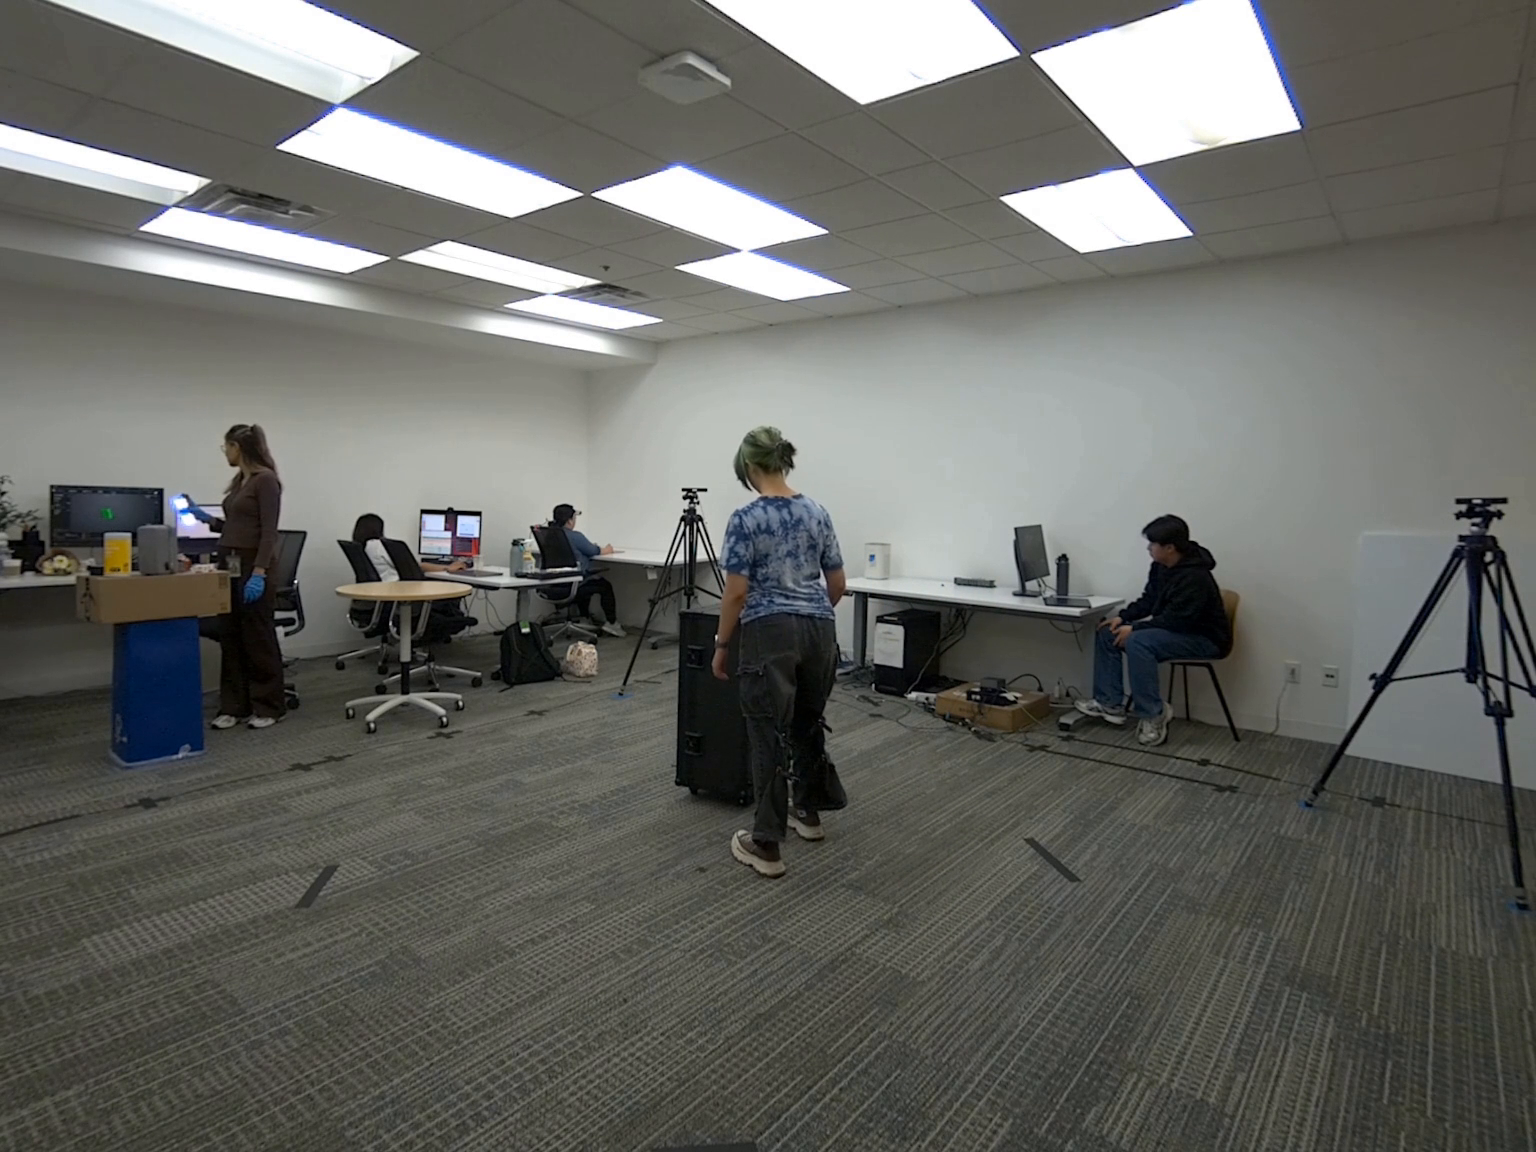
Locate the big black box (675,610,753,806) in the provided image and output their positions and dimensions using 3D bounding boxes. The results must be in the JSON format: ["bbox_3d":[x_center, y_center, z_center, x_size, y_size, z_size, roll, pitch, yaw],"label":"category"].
[{"bbox_3d":[-0.149,0.567,3.908,0.407,0.859,0.509,4,4,26],"label":"big black box"}]
